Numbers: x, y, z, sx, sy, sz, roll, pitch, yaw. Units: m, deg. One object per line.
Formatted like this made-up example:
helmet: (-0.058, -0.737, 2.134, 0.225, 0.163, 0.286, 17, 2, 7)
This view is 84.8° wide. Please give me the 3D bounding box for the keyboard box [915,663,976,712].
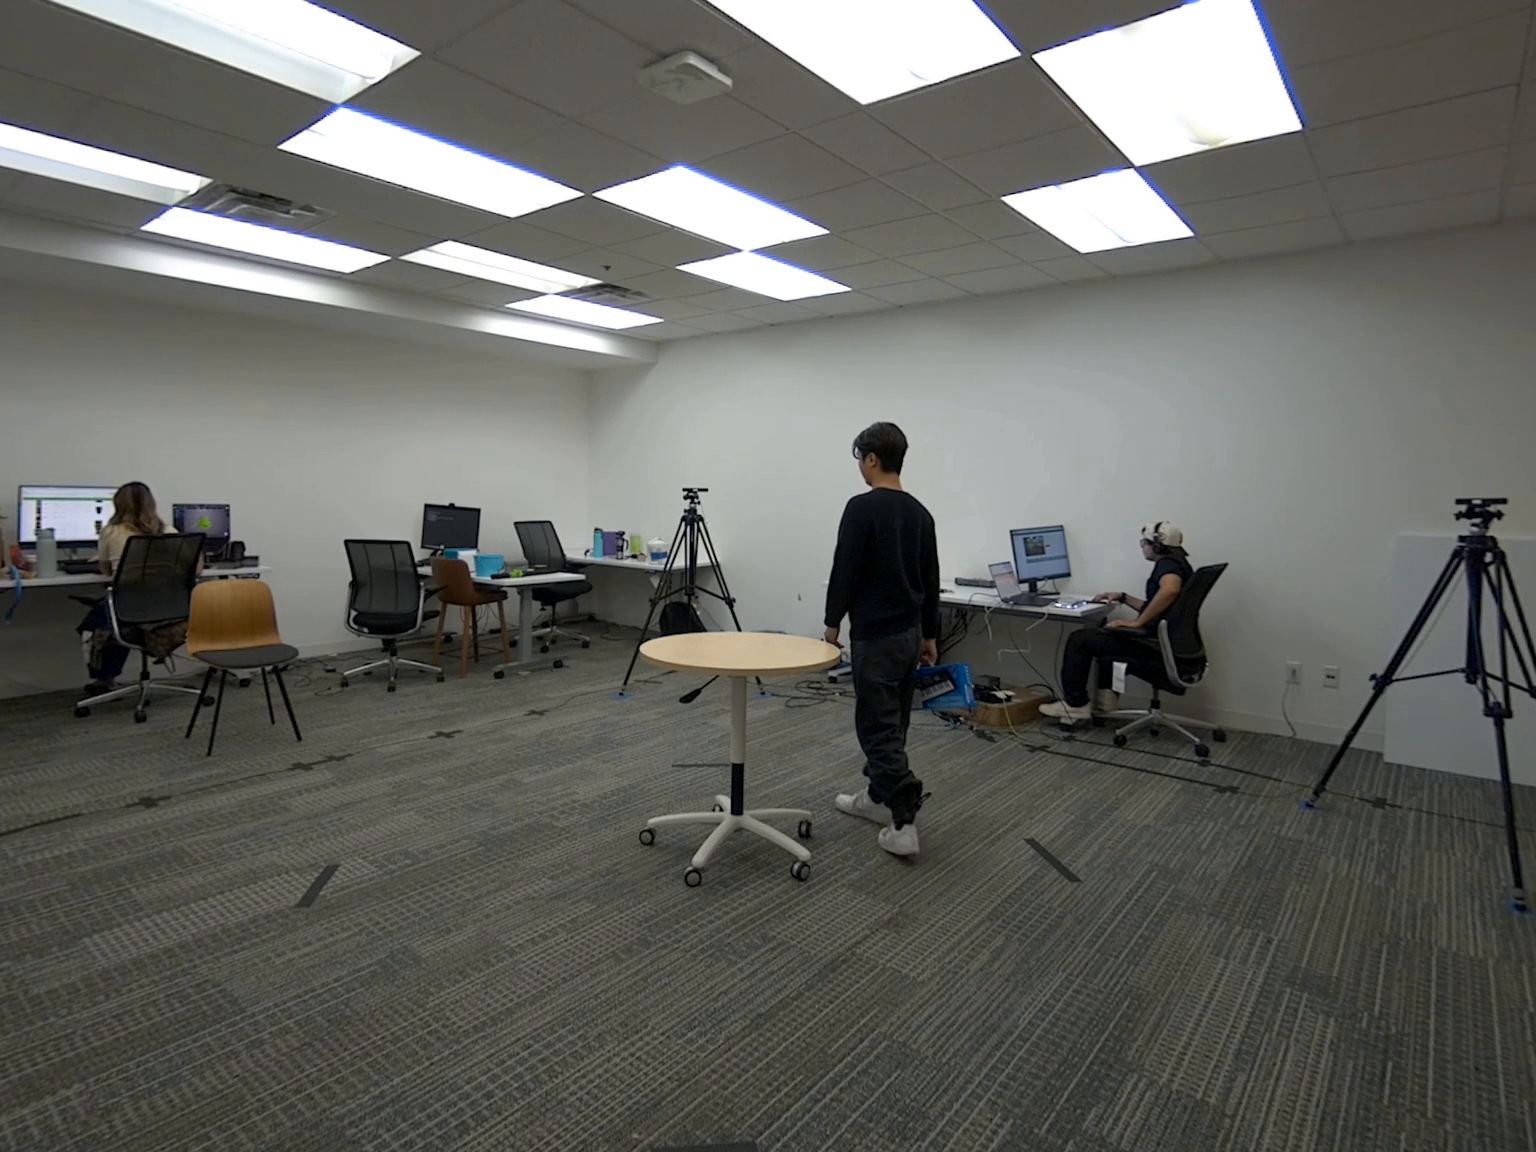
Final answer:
keyboard box: (0.664, 0.473, 3.594, 0.057, 0.178, 0.444, 1, -12, -34)
